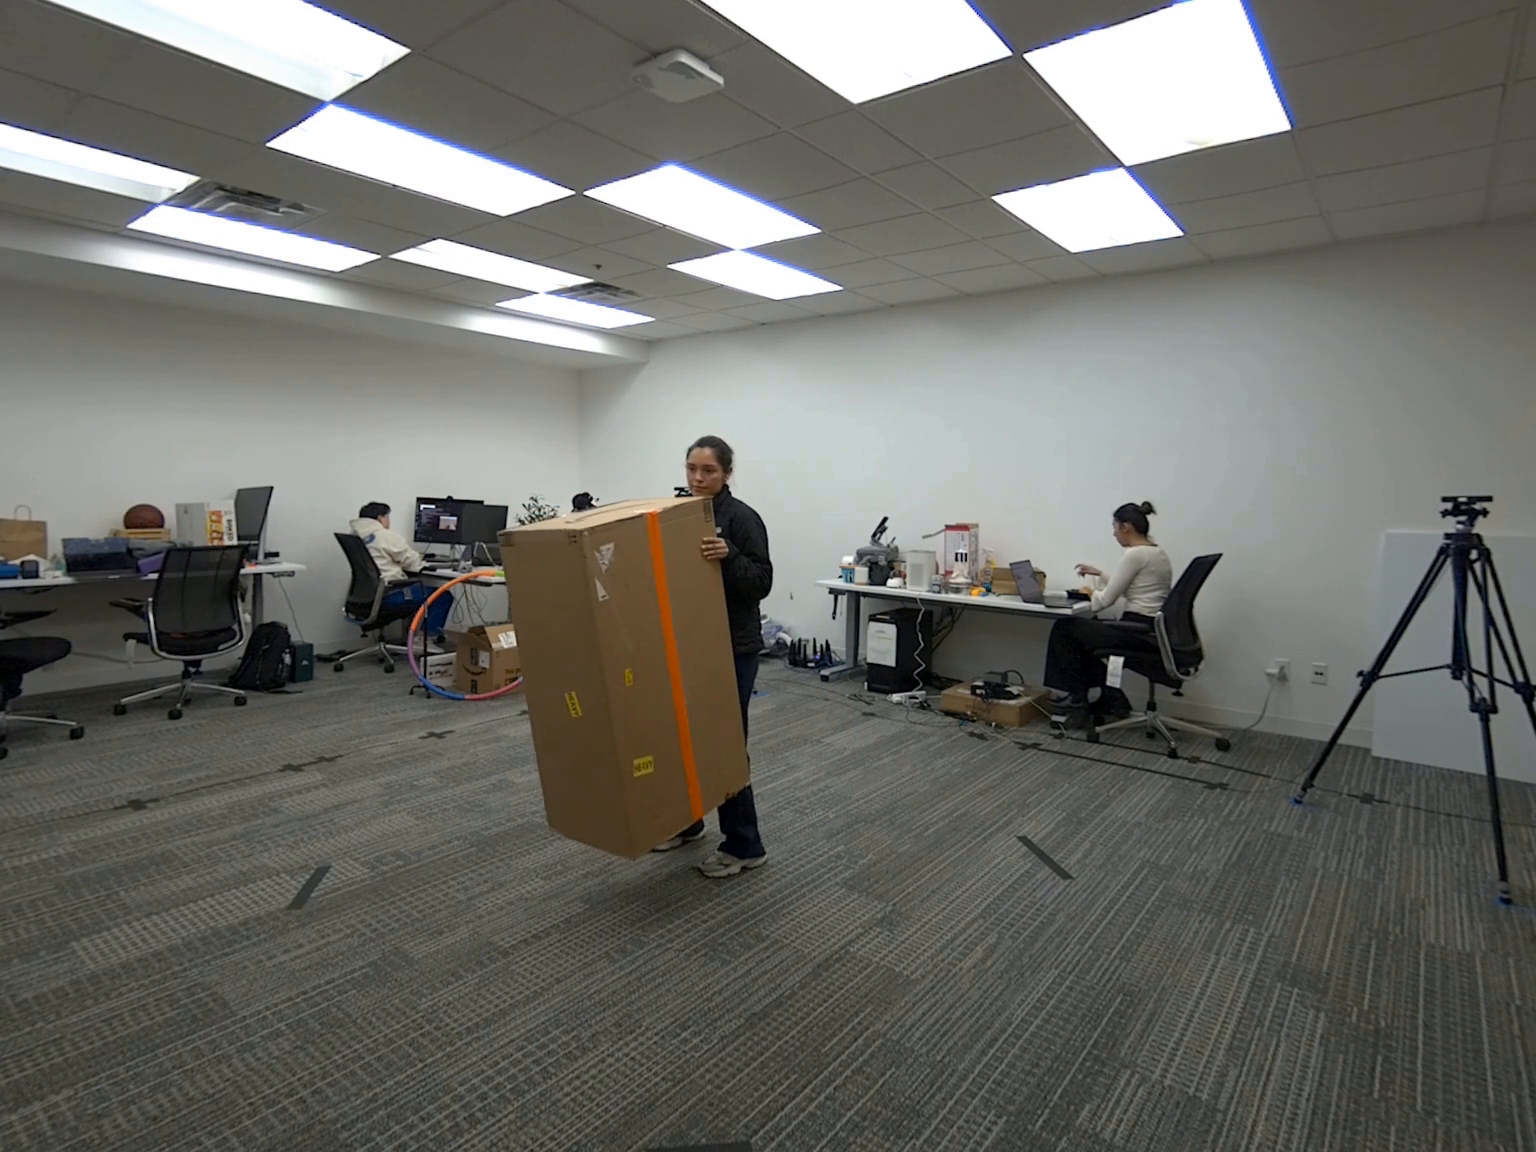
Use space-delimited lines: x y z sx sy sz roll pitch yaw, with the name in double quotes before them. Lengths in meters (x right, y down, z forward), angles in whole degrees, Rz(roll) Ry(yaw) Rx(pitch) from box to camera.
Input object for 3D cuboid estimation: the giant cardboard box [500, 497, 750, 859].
"giant cardboard box" -0.460 0.290 2.858 0.440 1.017 0.565 -1 11 42
